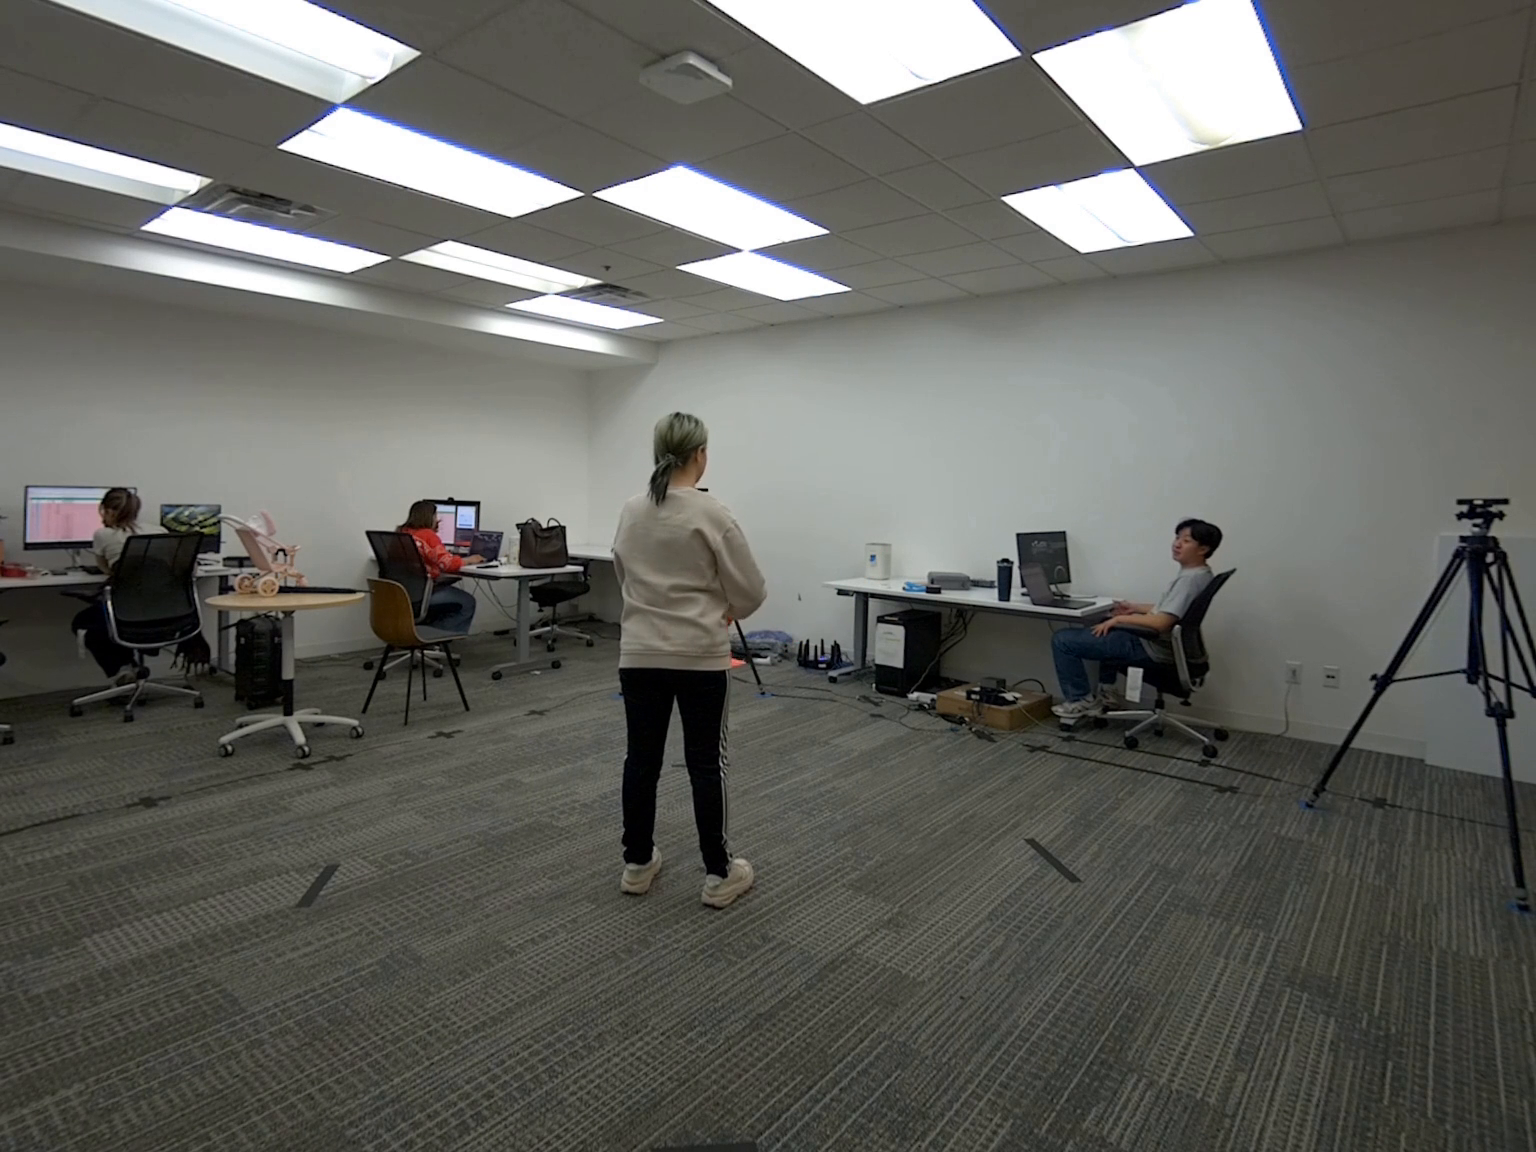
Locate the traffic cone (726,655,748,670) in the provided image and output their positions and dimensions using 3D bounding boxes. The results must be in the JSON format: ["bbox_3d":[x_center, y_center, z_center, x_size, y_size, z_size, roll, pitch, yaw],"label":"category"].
[{"bbox_3d":[-0.208,0.139,3.220,0.212,0.382,0.197,6,7,40],"label":"traffic cone"}]
